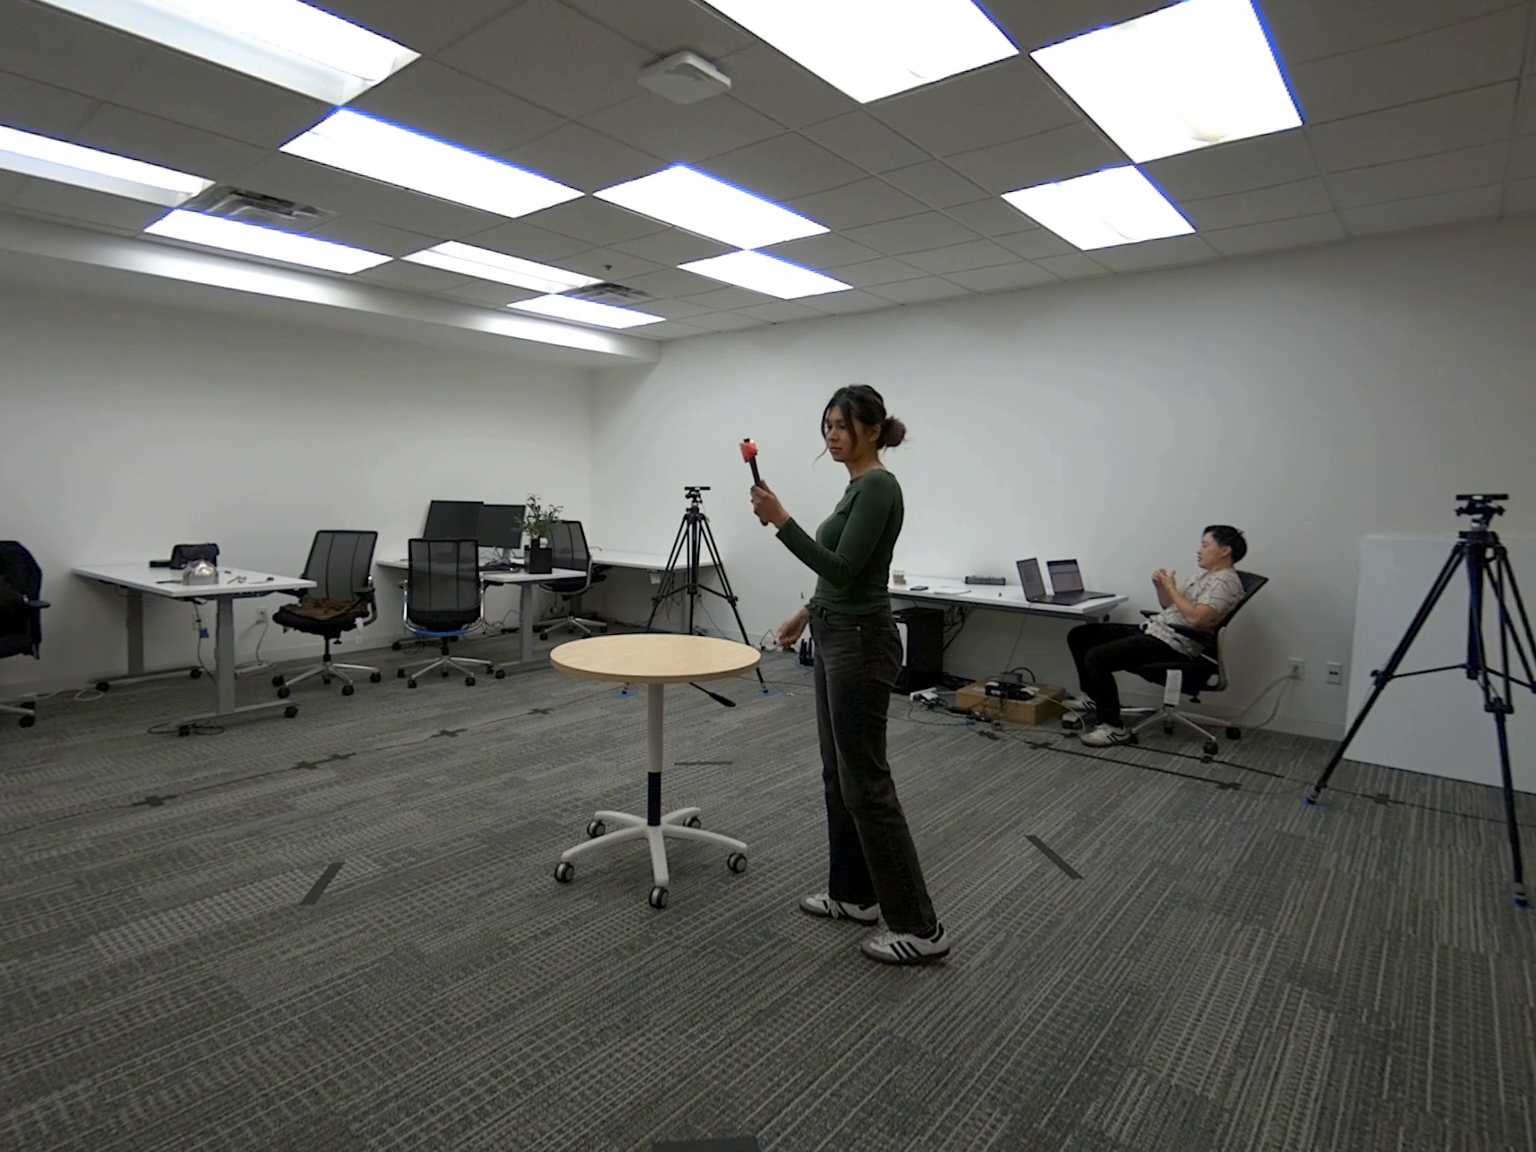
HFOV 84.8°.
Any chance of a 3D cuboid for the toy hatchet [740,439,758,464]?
[{"bbox_3d":[-0.042,-0.293,2.500,0.029,0.261,0.136,-23,39,-10],"label":"toy hatchet"}]
